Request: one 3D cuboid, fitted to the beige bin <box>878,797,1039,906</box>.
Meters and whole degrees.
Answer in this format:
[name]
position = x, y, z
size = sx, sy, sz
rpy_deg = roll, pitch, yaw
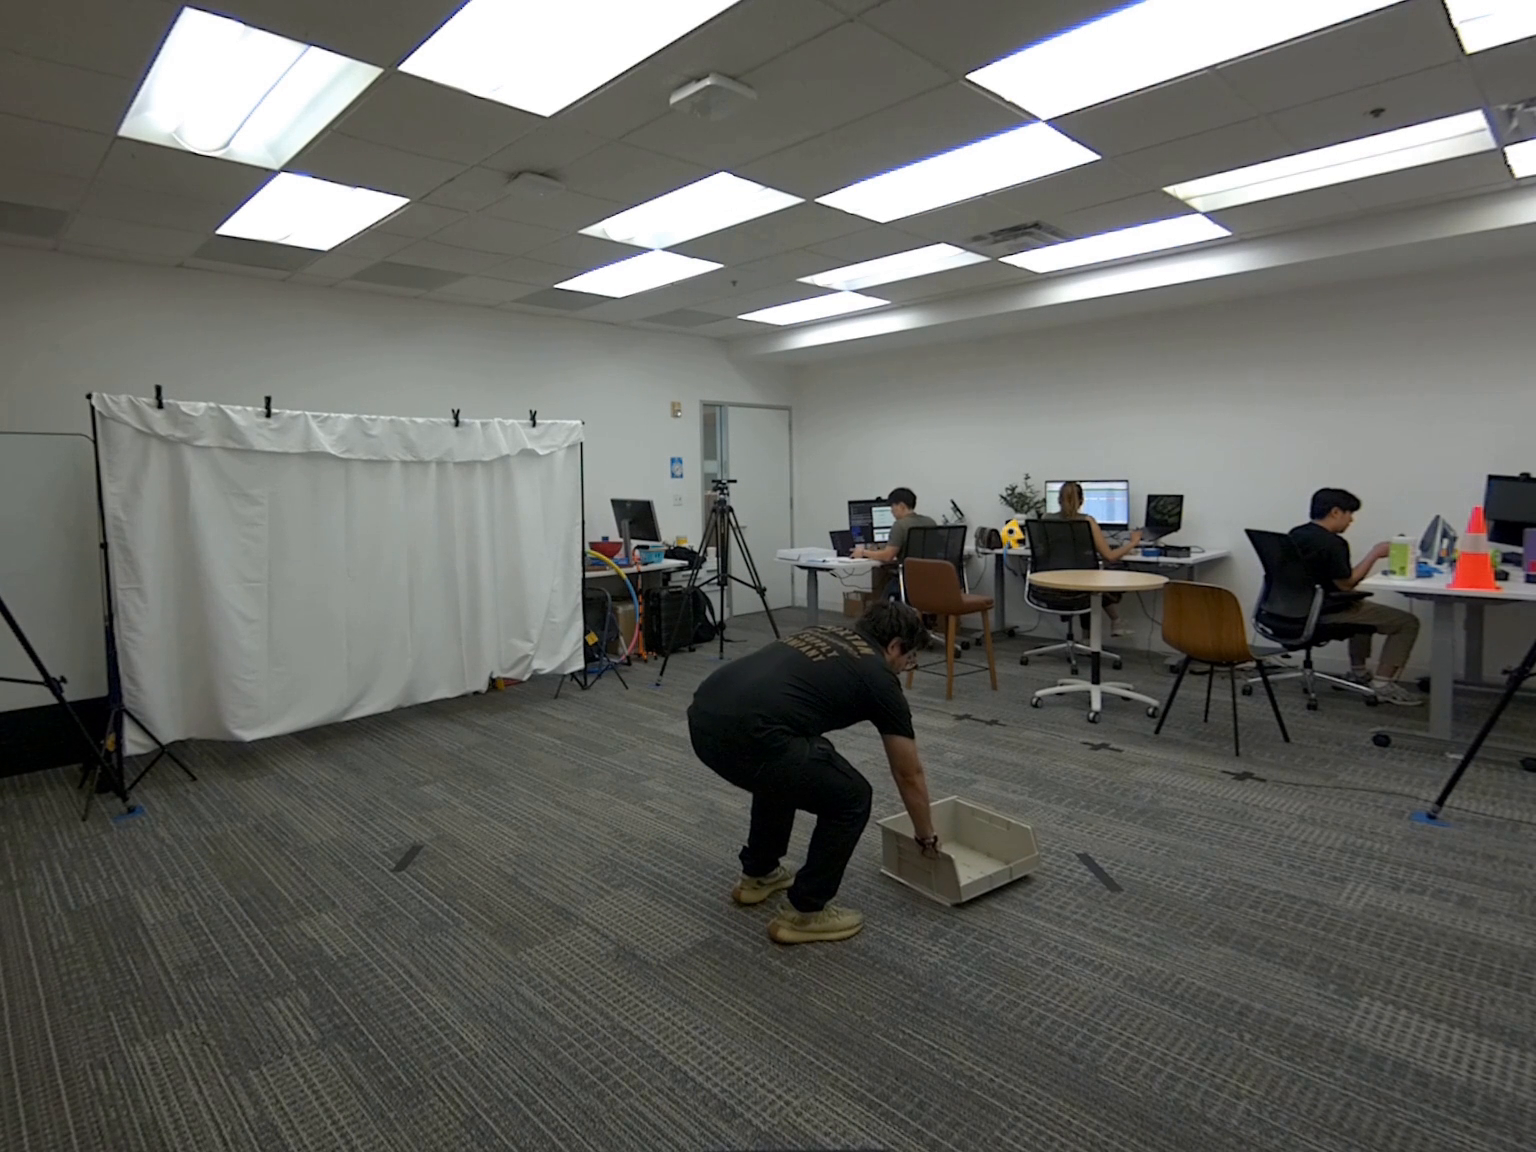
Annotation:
[beige bin]
position = 0.665, 0.959, 2.991
size = 0.412, 0.188, 0.388
rpy_deg = -6, 7, -36
